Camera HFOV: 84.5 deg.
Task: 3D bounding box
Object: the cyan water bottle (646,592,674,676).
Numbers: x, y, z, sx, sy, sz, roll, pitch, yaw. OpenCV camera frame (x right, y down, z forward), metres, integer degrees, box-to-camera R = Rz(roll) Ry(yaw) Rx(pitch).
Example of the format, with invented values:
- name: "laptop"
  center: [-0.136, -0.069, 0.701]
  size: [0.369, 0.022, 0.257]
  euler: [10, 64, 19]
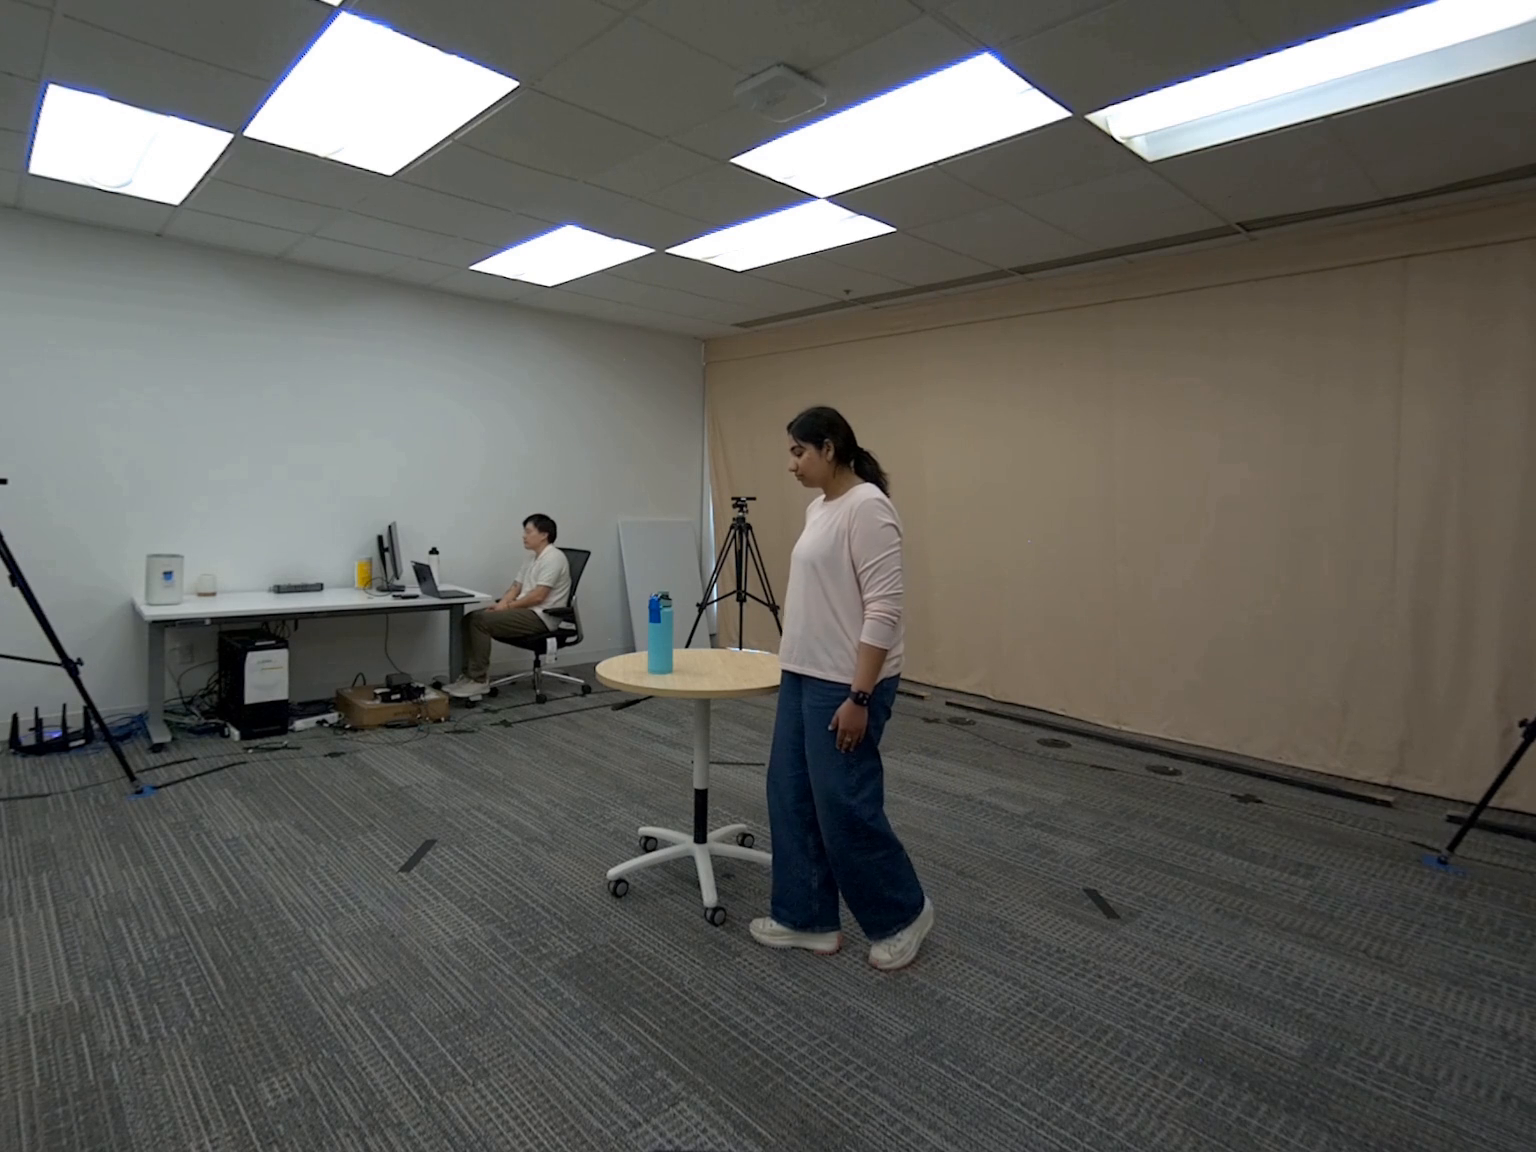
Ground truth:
- name: "cyan water bottle"
  center: [-0.388, 0.196, 2.928]
  size: [0.092, 0.283, 0.092]
  euler: [1, 3, -1]
